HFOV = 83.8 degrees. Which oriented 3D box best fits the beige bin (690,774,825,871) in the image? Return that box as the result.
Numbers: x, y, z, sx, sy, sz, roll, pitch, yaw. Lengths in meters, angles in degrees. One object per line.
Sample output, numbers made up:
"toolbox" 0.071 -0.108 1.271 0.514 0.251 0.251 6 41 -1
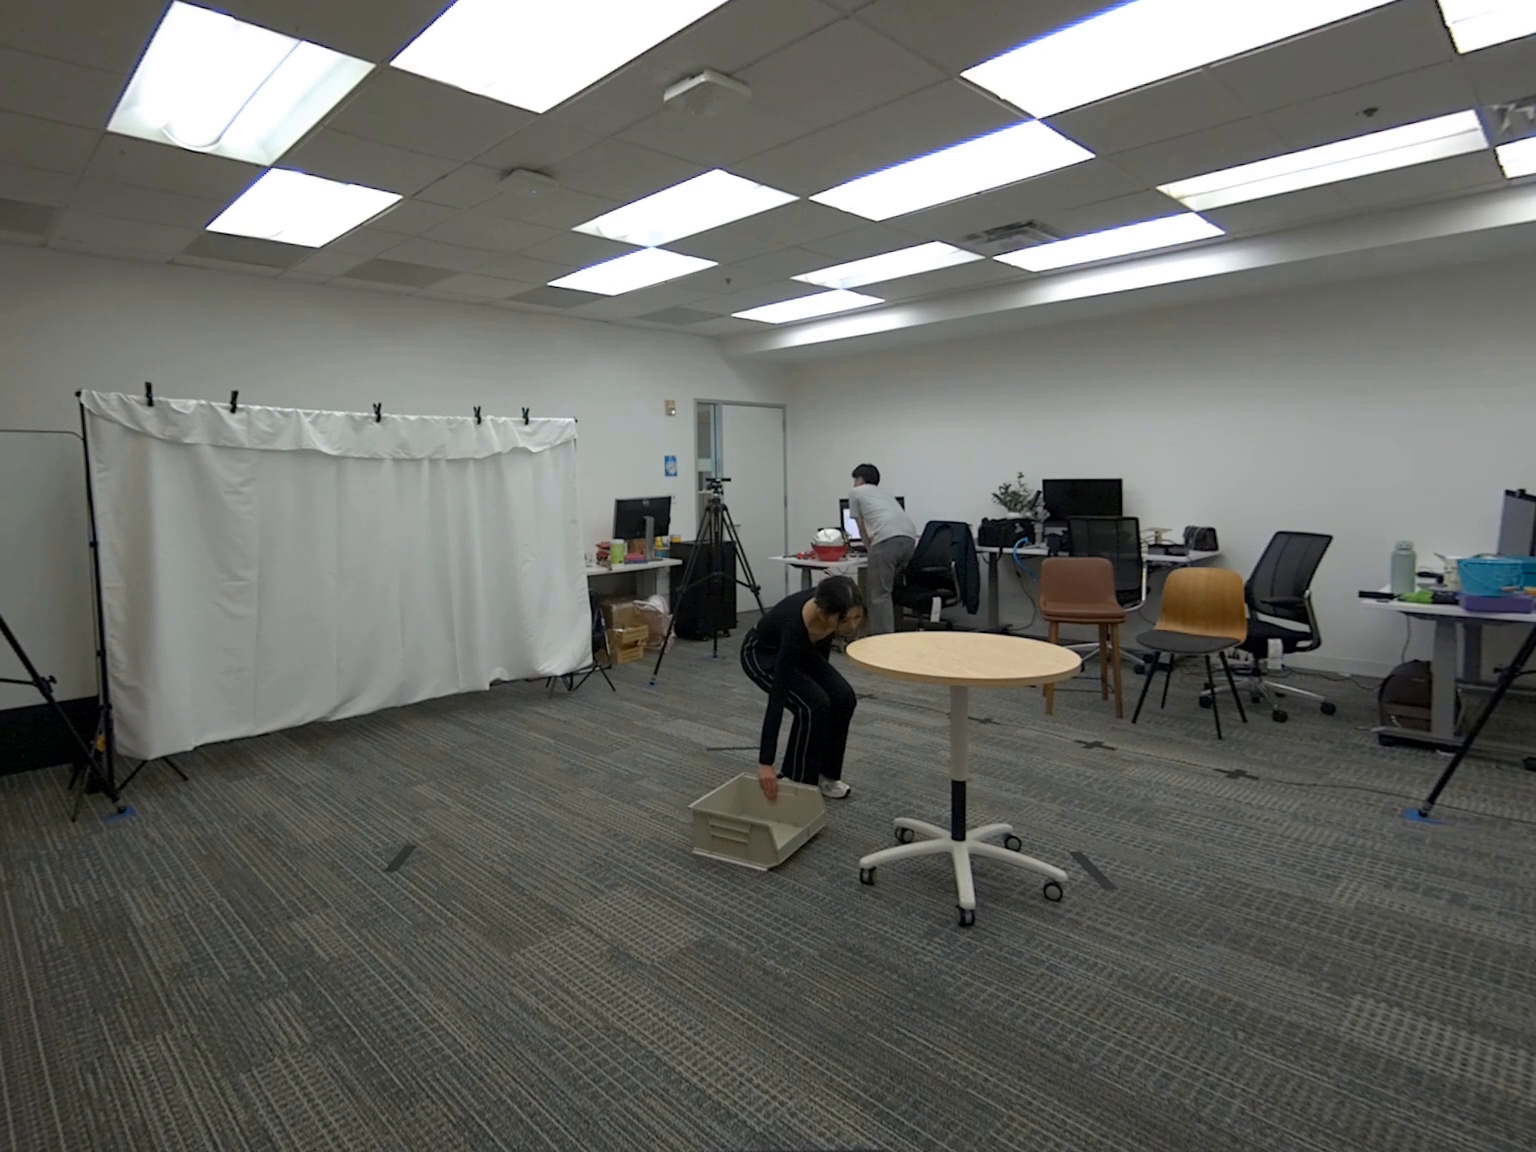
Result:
"beige bin" -0.031 0.936 3.273 0.387 0.188 0.413 2 7 30
